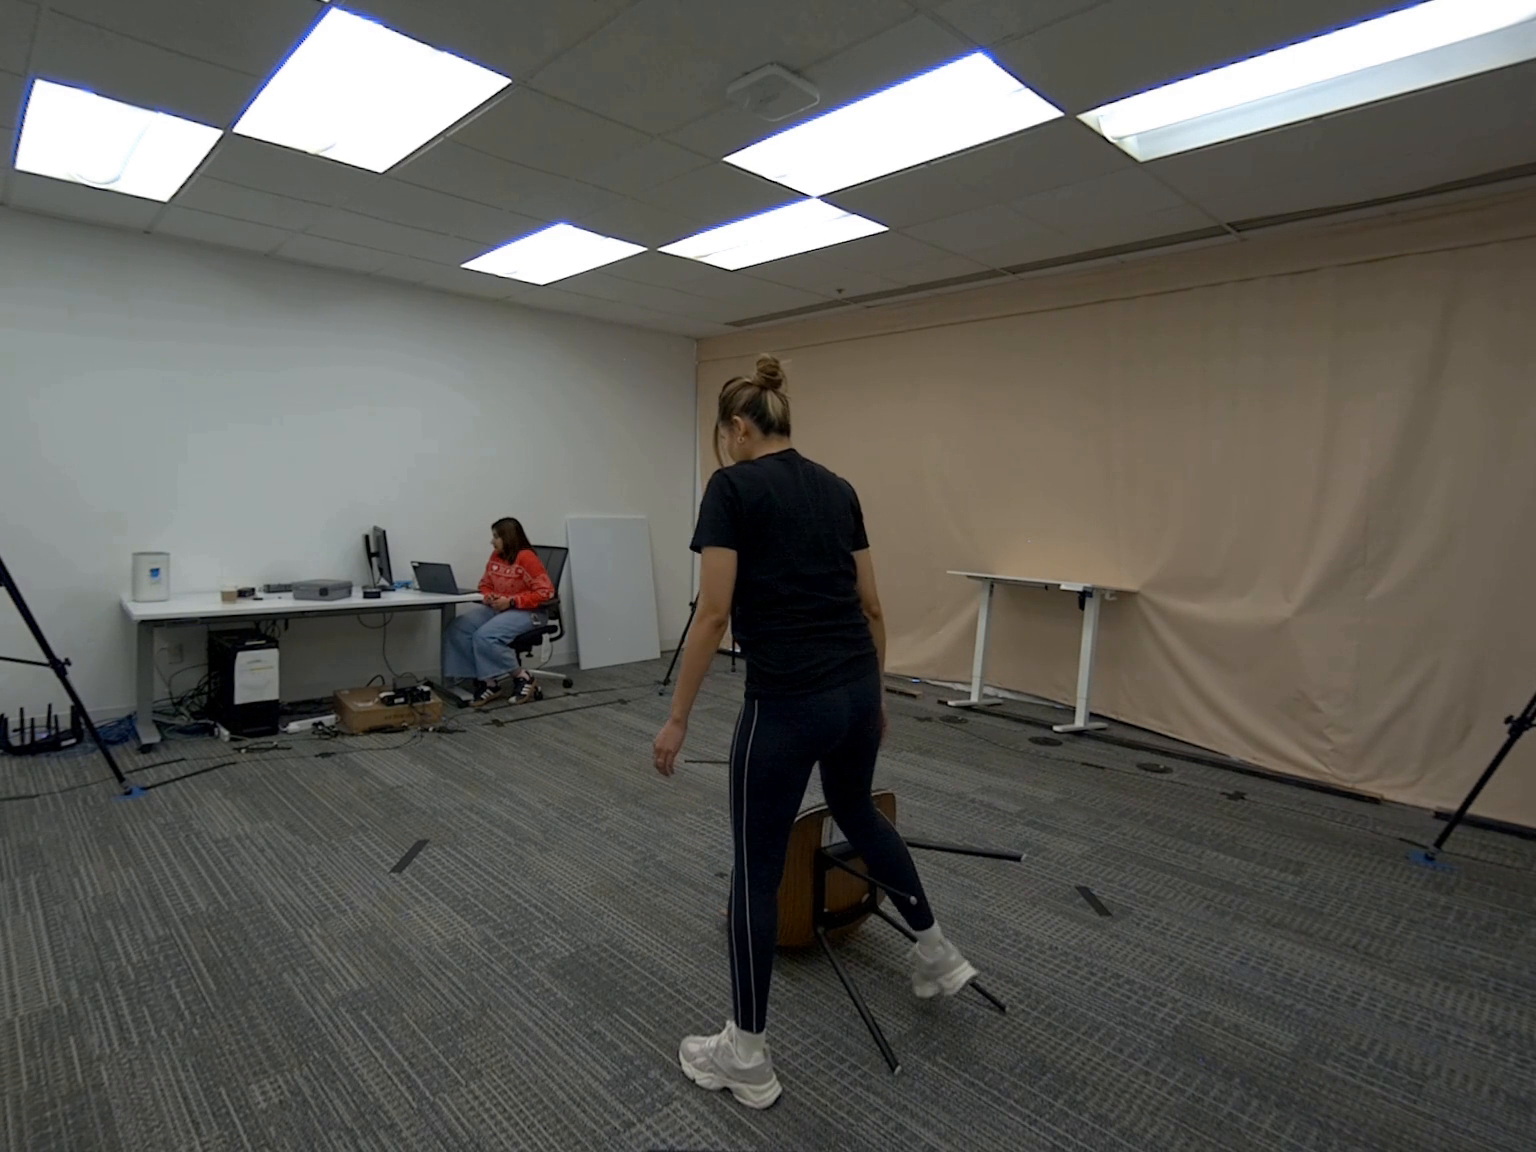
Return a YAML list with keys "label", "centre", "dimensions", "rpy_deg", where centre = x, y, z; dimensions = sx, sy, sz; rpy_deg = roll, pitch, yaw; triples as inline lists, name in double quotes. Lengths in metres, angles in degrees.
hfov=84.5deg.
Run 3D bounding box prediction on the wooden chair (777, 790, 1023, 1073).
- label: "wooden chair"
  centre: [0.234, 0.909, 2.501]
  dimensions: [0.467, 0.522, 0.899]
  rpy_deg: [-1, 5, -38]
